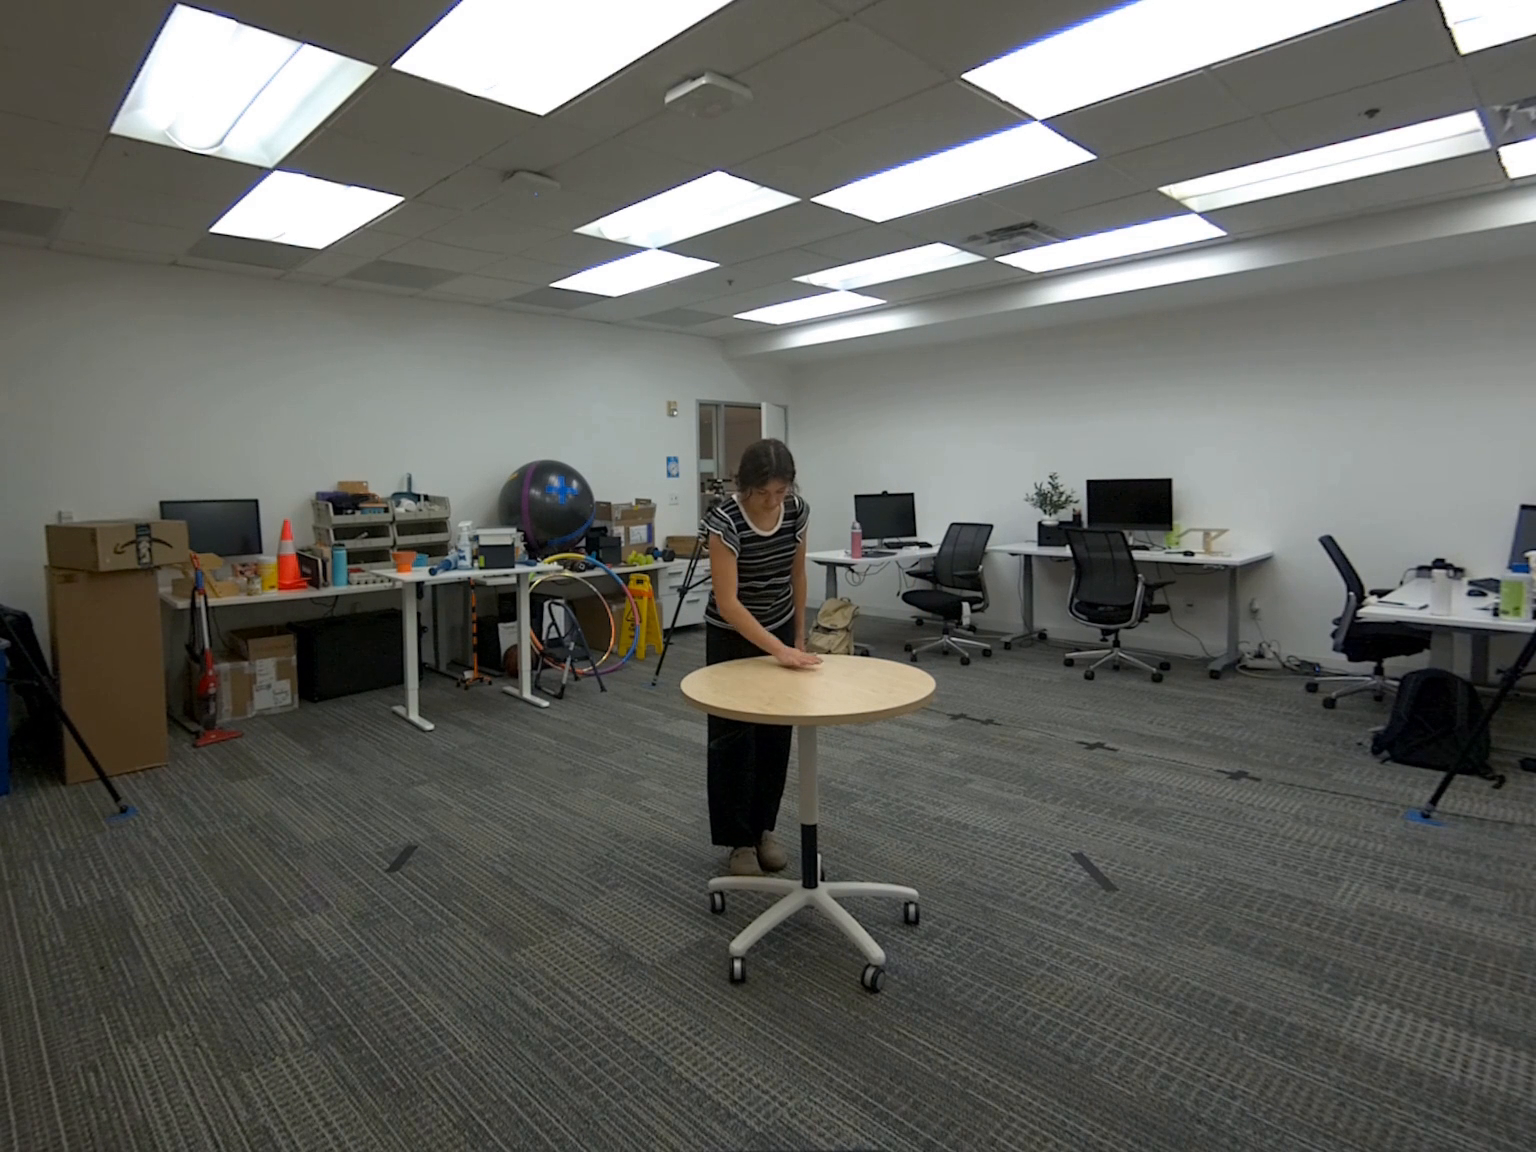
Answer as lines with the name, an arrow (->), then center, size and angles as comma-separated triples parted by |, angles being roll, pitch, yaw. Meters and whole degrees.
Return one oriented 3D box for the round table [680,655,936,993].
round table -> 0.132, 0.709, 2.619 | 0.763, 0.791, 0.768 | -2, 5, -2
